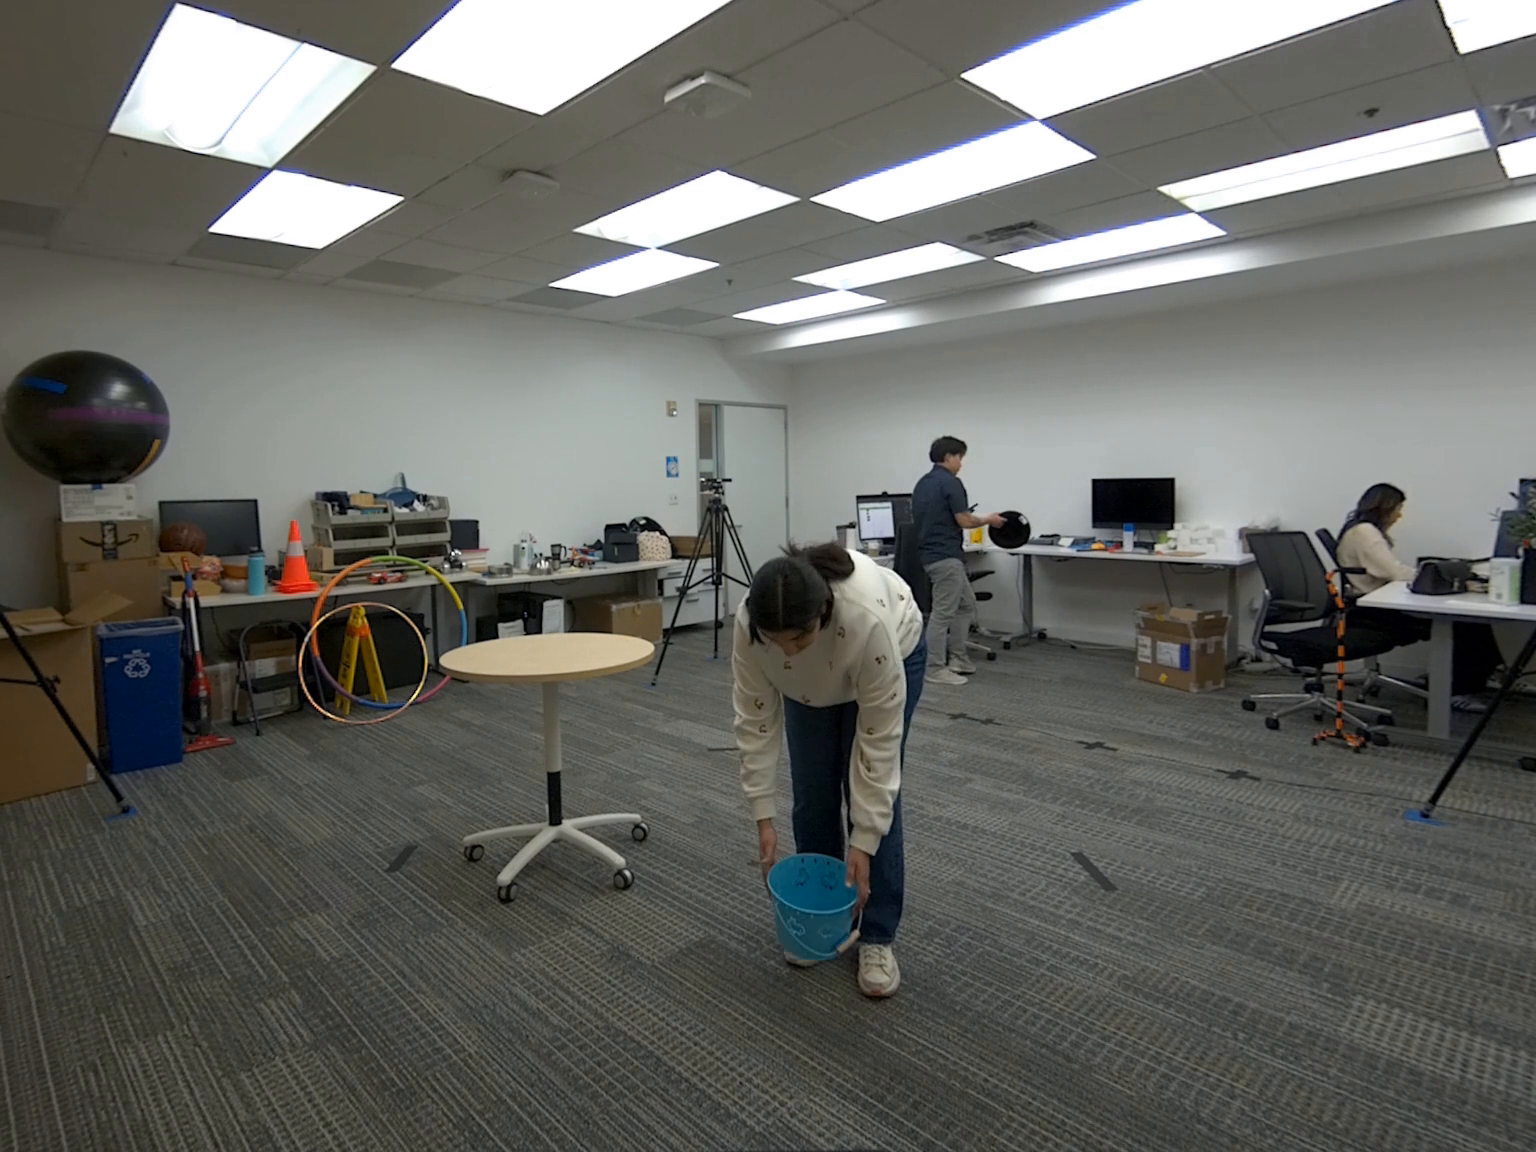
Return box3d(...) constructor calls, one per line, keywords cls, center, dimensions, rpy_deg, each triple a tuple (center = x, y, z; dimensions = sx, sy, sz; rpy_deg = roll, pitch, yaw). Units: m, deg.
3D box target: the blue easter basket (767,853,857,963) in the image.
box3d(cls="blue easter basket", center=(0.124, 0.826, 2.109), dimensions=(0.243, 0.154, 0.246), rpy_deg=(-1, 12, -1))
